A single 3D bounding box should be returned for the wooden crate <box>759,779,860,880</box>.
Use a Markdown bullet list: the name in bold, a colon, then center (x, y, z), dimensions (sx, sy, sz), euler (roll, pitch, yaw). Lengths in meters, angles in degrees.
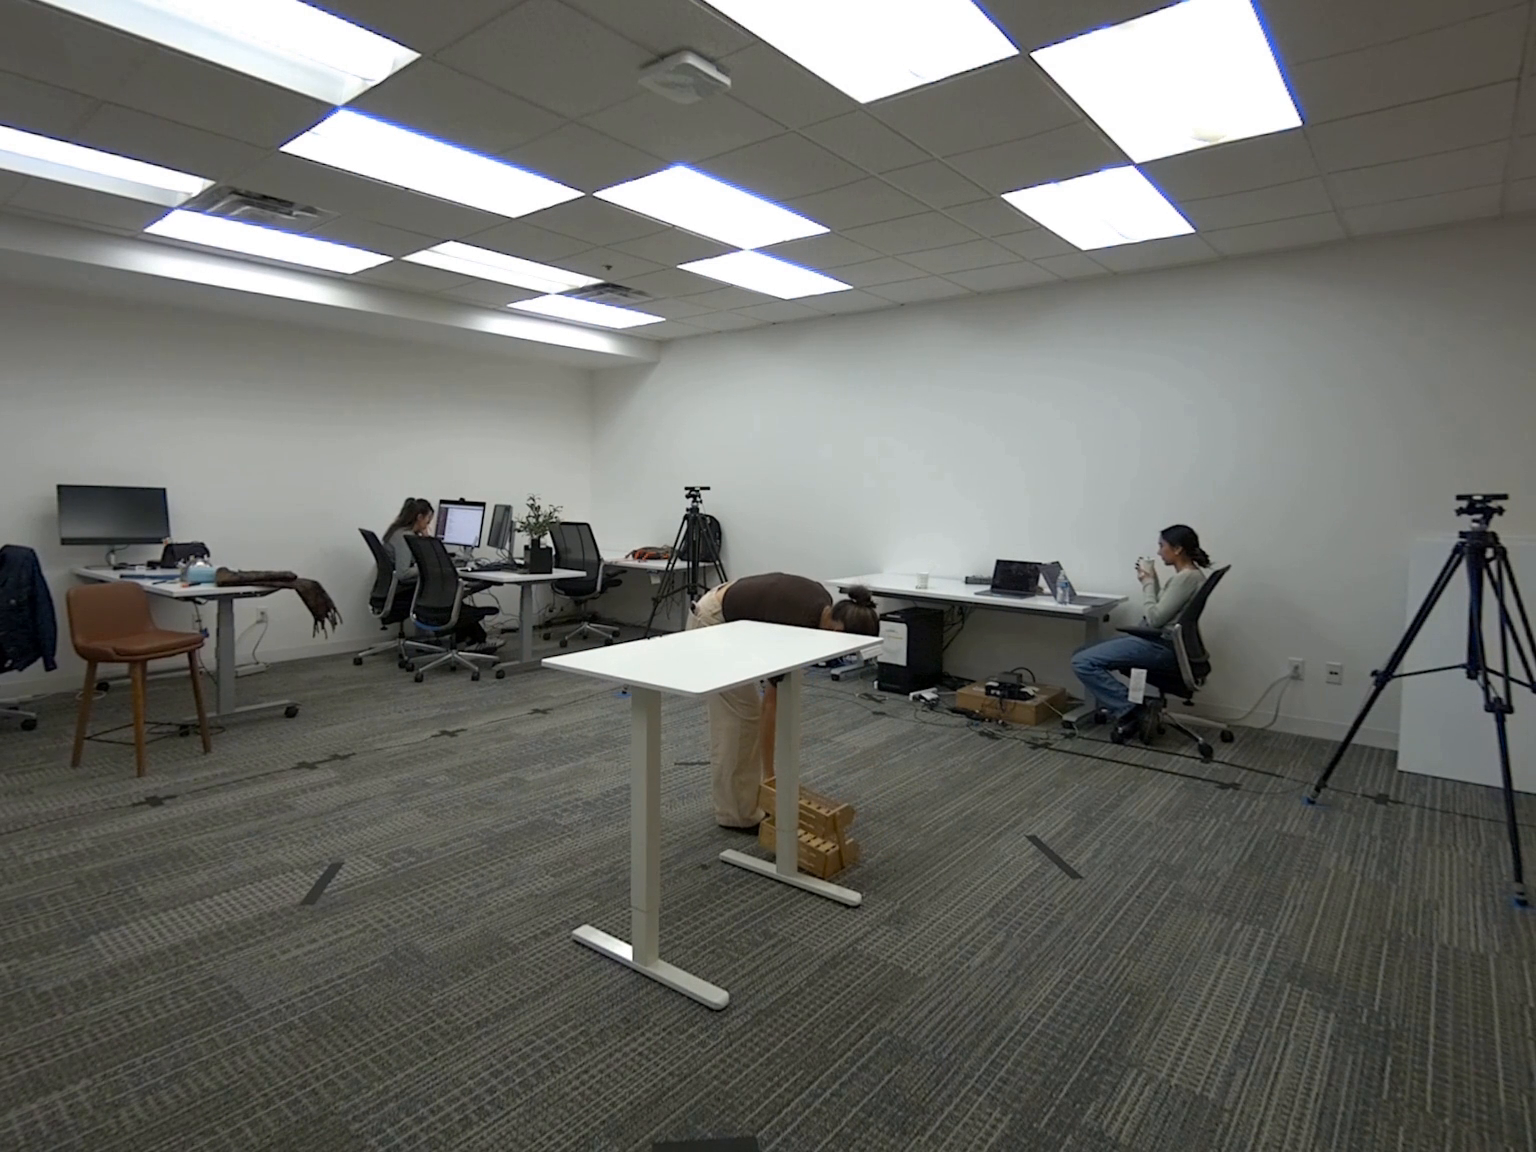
- **wooden crate**: center (0.149, 0.913, 3.189), dimensions (0.336, 0.271, 0.293), euler (14, 11, 35)
